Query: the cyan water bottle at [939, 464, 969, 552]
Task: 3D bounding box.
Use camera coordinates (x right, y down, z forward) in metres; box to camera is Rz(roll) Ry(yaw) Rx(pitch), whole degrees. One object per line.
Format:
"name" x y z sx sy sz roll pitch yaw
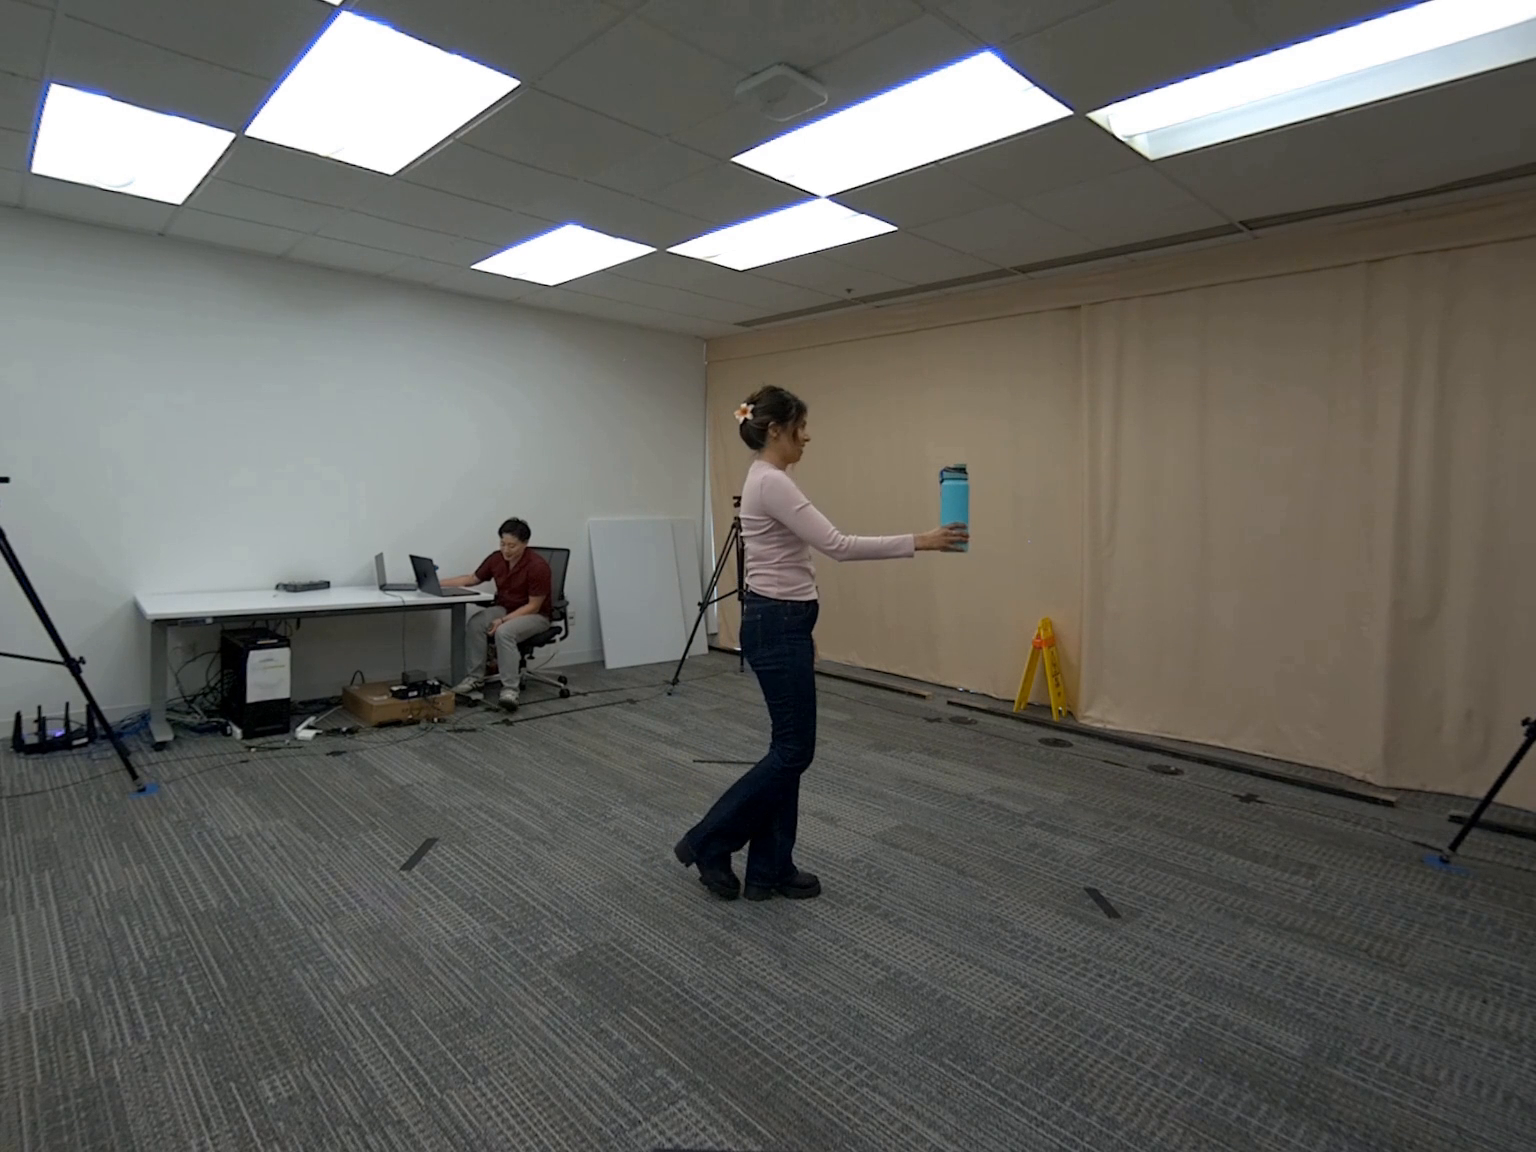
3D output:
"cyan water bottle" 0.588 -0.225 2.690 0.092 0.283 0.092 0 1 -1
